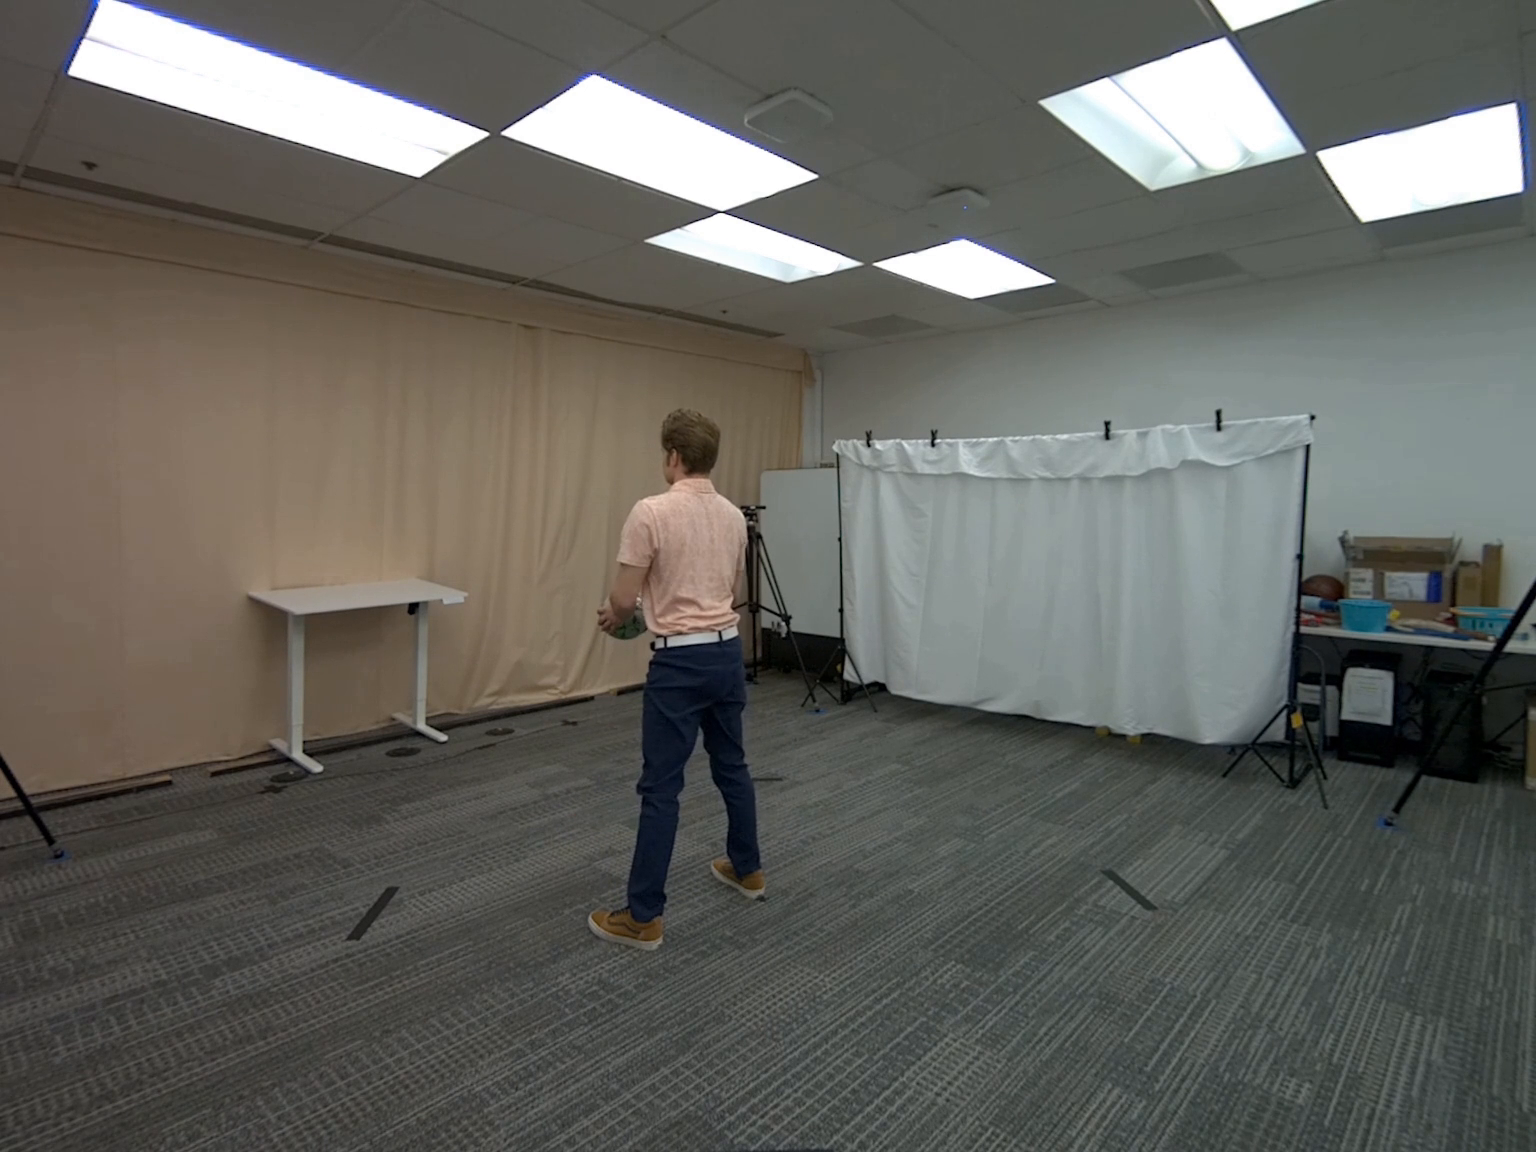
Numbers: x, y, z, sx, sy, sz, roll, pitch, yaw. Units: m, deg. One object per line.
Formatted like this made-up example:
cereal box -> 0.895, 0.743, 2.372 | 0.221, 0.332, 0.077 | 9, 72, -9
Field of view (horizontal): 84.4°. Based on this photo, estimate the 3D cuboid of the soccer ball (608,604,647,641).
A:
soccer ball -> -0.543, 0.153, 3.170 | 0.187, 0.187, 0.188 | 0, 4, -2
